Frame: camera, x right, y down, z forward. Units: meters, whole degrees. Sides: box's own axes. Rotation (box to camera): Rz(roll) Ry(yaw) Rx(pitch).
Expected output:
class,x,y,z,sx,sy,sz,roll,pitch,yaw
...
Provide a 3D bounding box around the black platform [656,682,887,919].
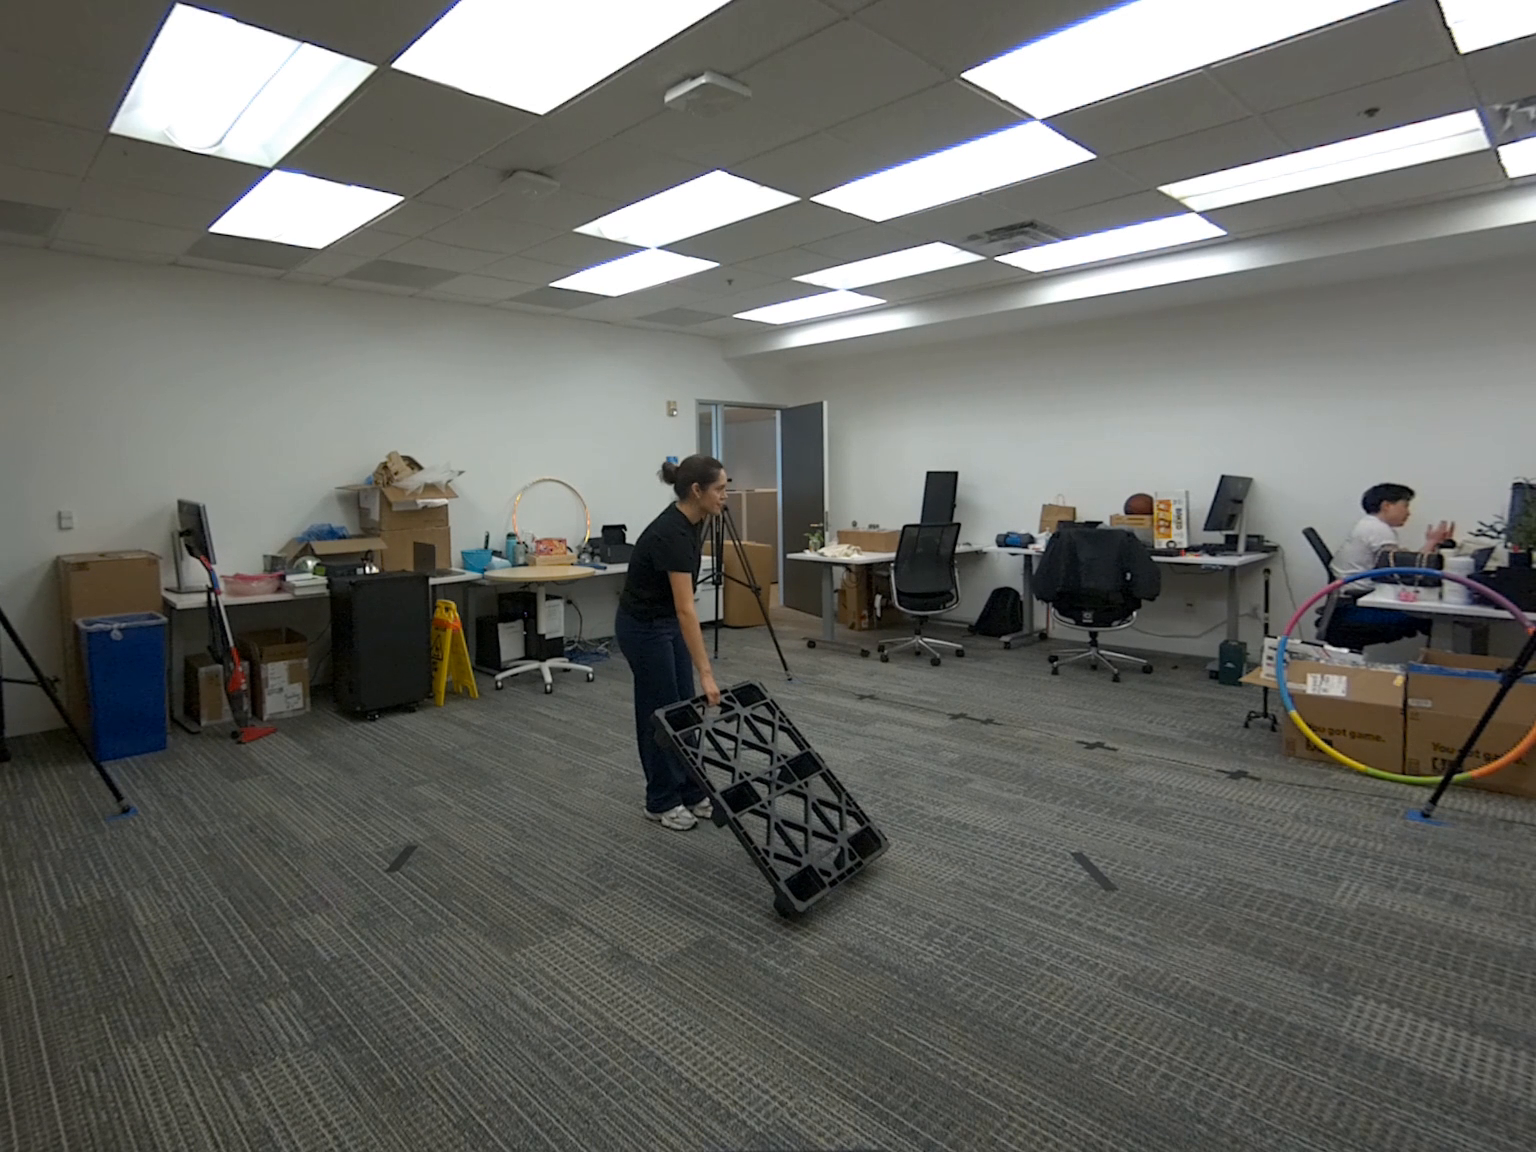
class,x,y,z,sx,sy,sz,roll,pitch,yaw
black platform,-0.009,0.754,3.048,0.589,0.143,0.830,-6,48,-52
